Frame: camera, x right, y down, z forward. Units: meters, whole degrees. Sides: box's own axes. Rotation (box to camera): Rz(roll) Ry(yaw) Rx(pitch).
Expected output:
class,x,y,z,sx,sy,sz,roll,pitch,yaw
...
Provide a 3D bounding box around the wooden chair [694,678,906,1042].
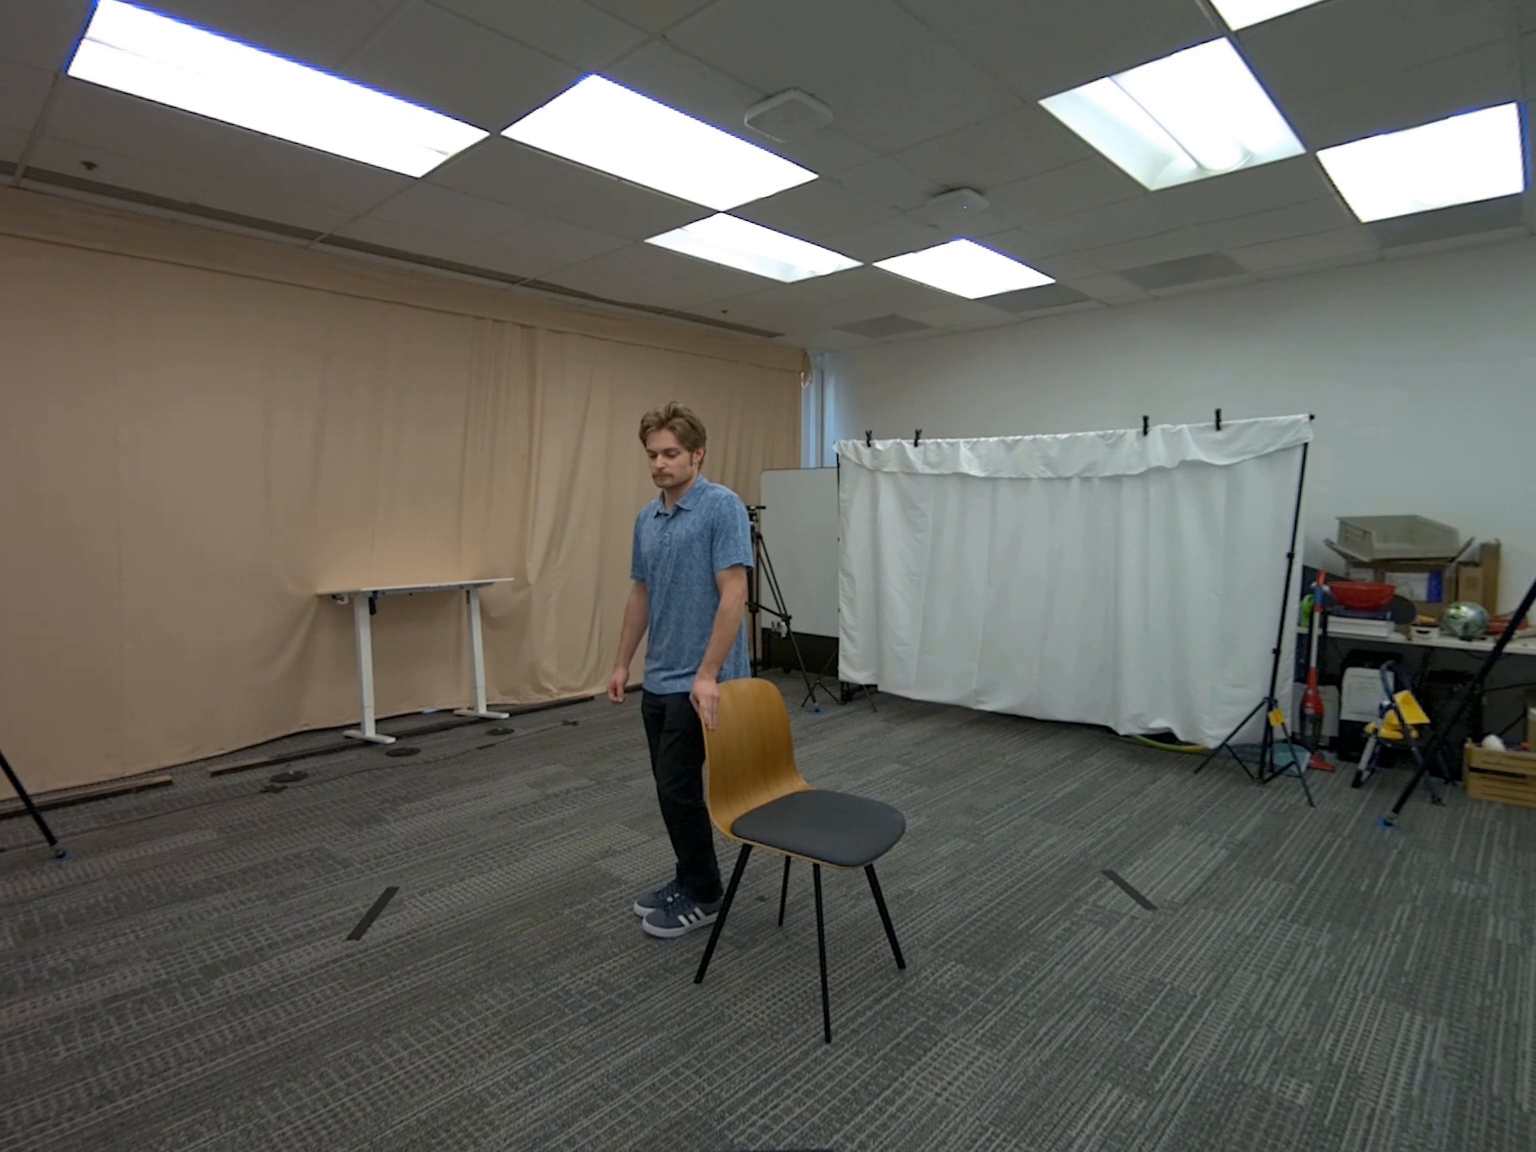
class,x,y,z,sx,sy,sz,roll,pitch,yaw
wooden chair,0.109,0.759,2.460,0.539,0.877,0.464,-4,0,37
